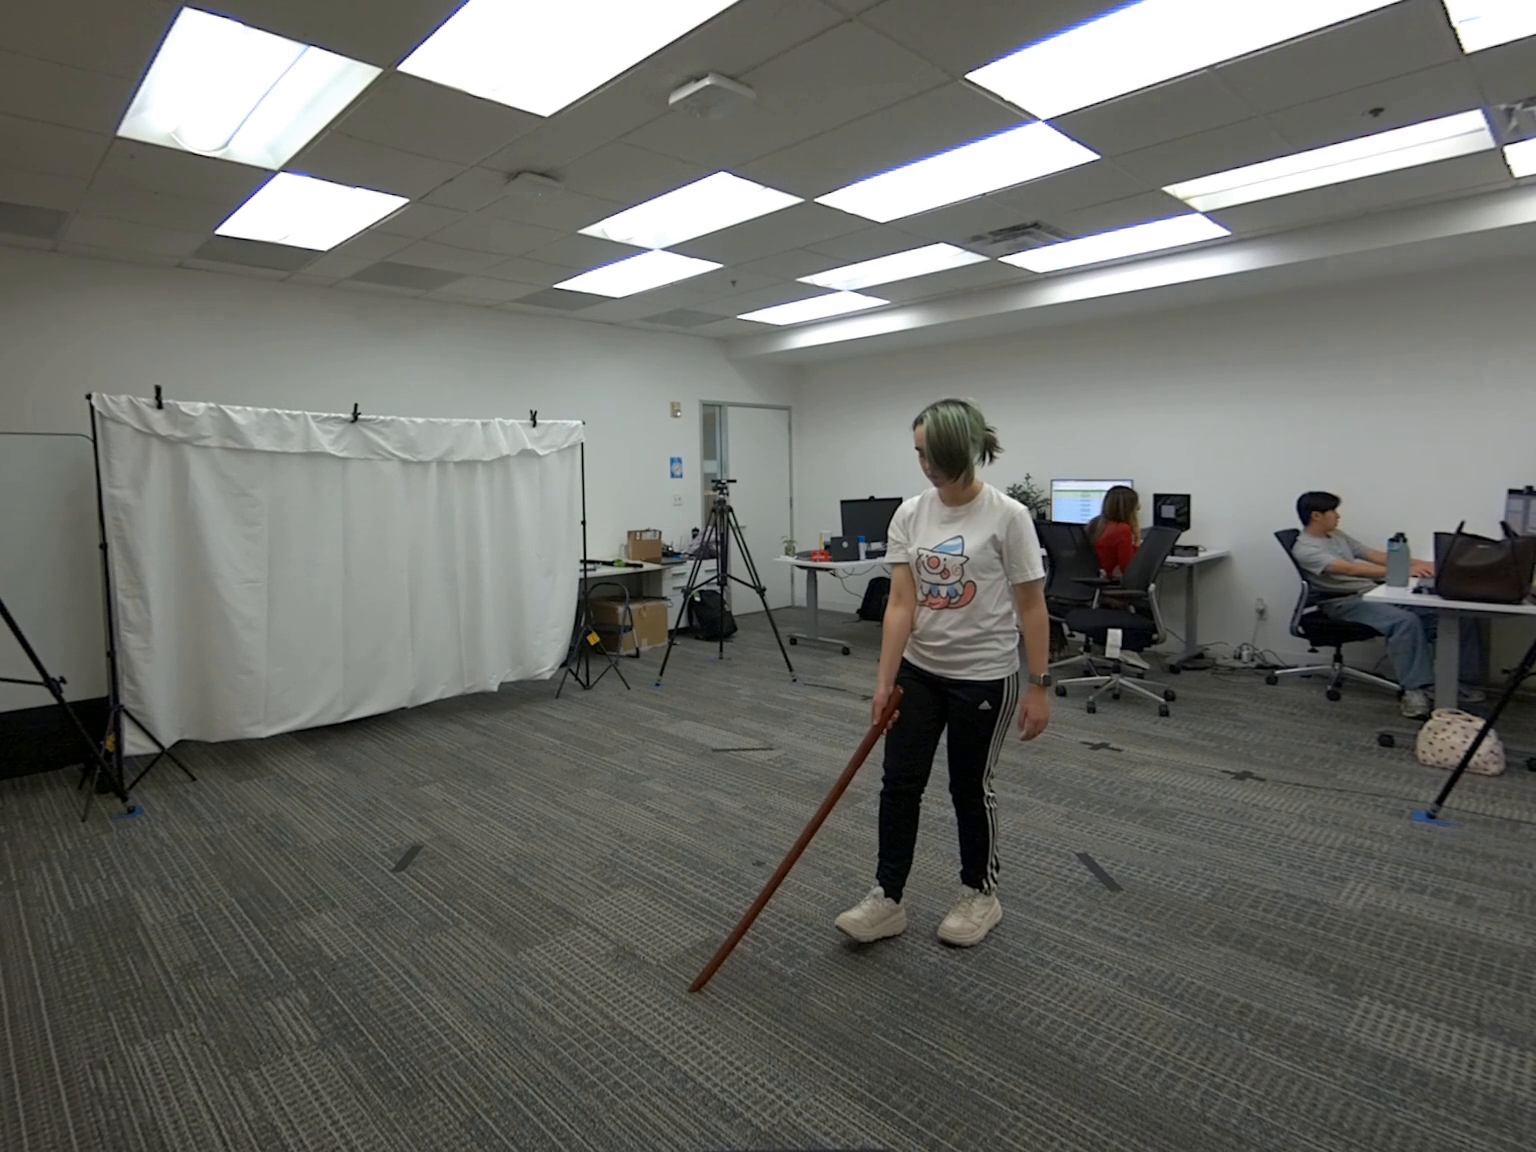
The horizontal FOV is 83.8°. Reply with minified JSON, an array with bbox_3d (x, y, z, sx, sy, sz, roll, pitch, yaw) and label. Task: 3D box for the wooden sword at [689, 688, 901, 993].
[{"bbox_3d":[0.110,0.753,2.432,0.053,1.026,0.023,26,-17,44],"label":"wooden sword"}]
